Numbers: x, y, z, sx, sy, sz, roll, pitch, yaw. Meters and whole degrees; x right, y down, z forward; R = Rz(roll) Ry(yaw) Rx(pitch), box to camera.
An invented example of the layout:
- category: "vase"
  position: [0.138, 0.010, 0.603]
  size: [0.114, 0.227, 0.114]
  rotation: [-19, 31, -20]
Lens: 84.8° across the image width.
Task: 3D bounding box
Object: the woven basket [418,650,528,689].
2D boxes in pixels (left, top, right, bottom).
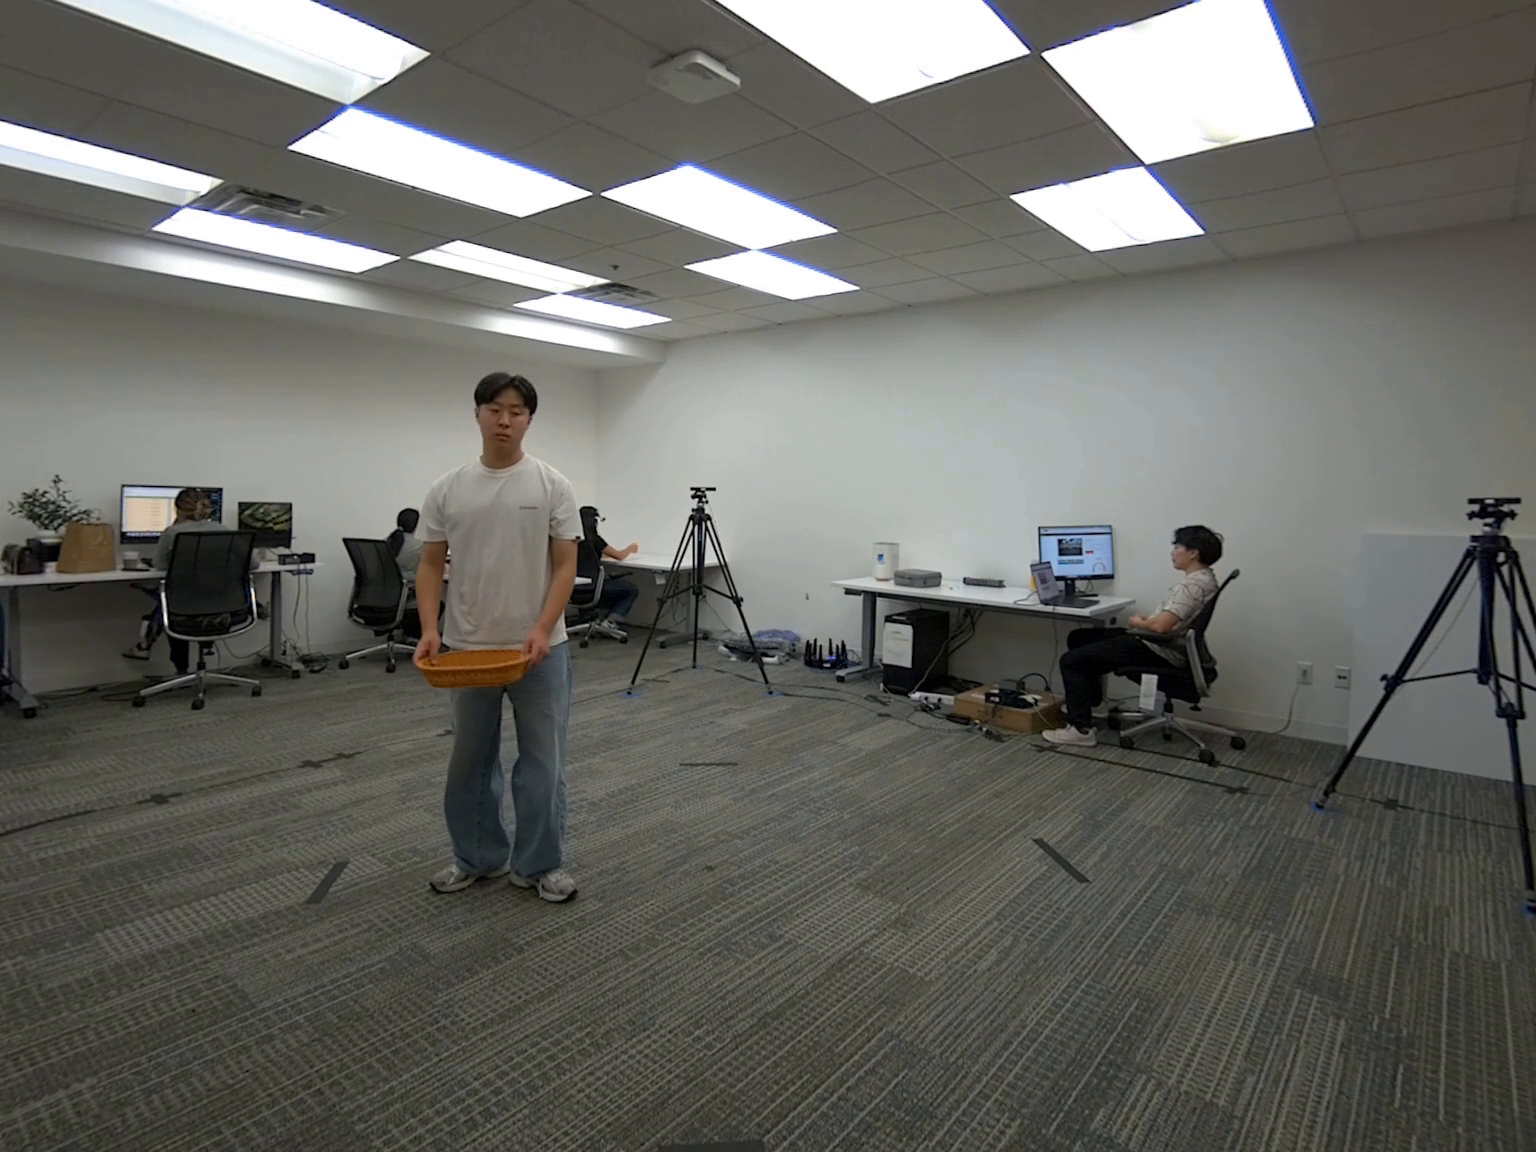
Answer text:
- category: "woven basket"
  position: [-0.924, 0.287, 2.618]
  size: [0.353, 0.073, 0.252]
  rotation: [-2, 8, 6]
